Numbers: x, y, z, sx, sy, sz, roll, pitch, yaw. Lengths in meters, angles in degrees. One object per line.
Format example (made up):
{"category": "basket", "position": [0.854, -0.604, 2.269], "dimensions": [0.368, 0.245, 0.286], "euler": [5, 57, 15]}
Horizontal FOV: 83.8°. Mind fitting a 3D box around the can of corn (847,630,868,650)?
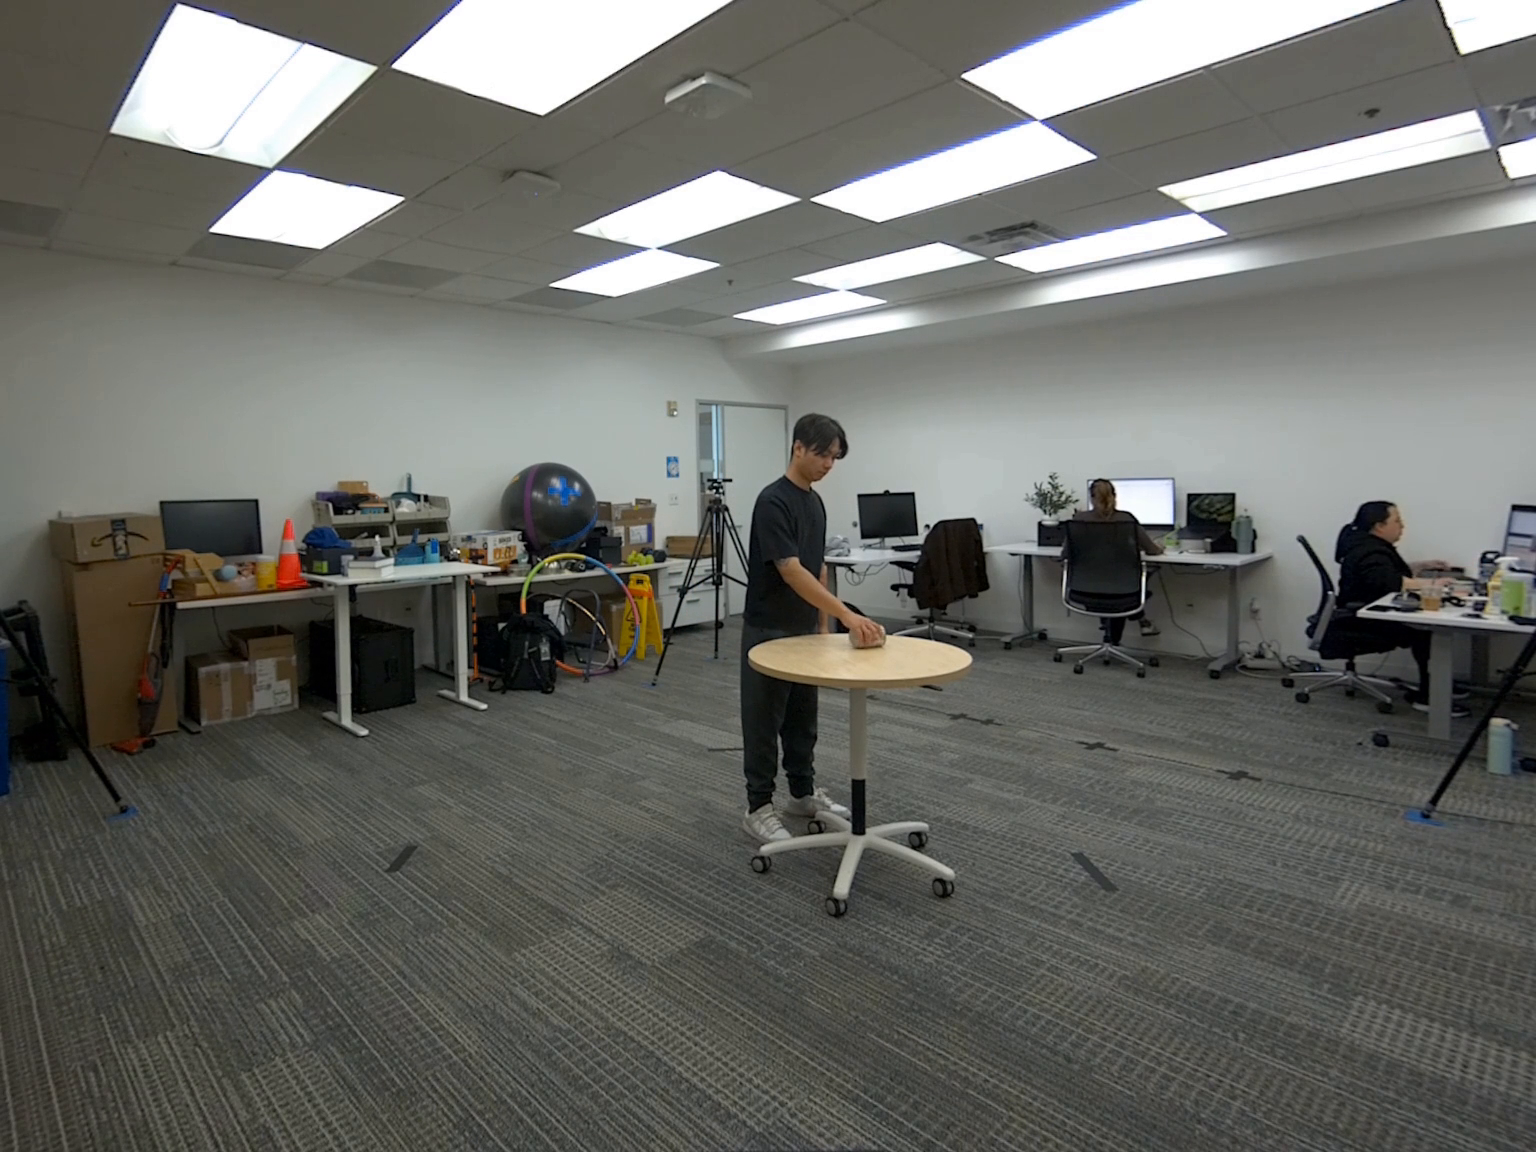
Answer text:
{"category": "can of corn", "position": [0.359, 0.222, 3.088], "dimensions": [0.111, 0.074, 0.075], "euler": [-1, 5, -4]}
